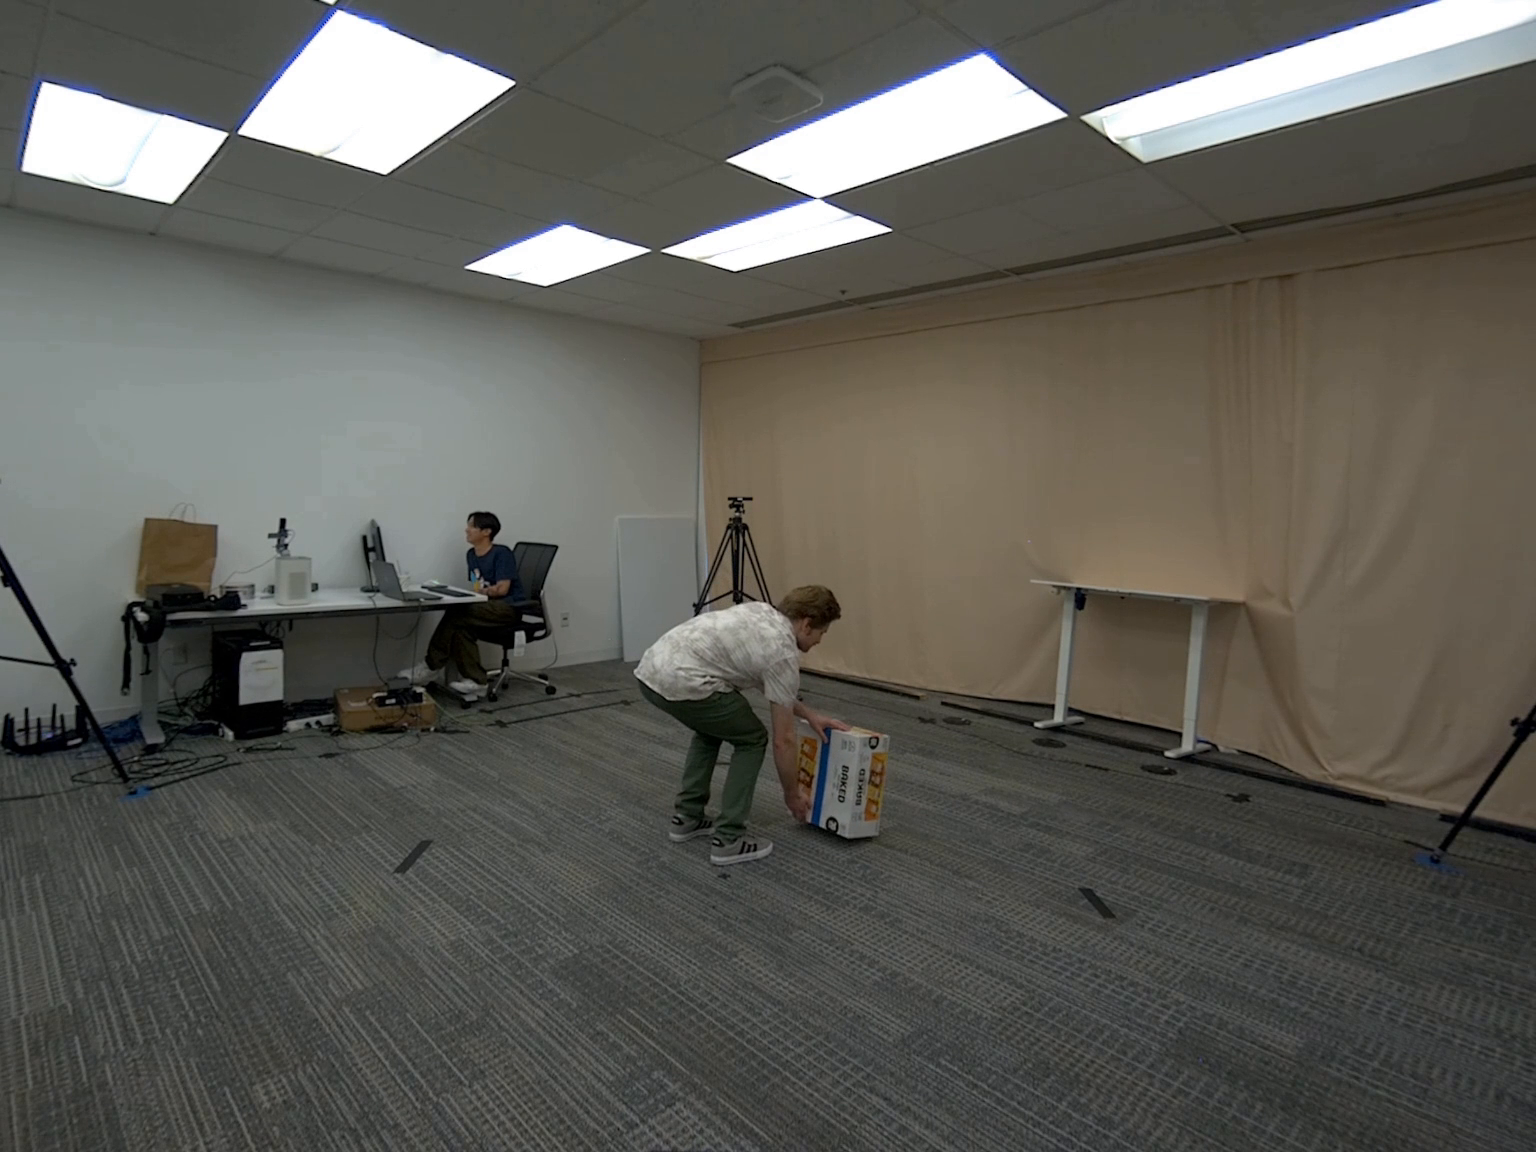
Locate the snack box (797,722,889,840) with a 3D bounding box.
[{"bbox_3d":[0.291,0.839,3.555,0.200,0.406,0.349,11,-5,-42],"label":"snack box"}]
